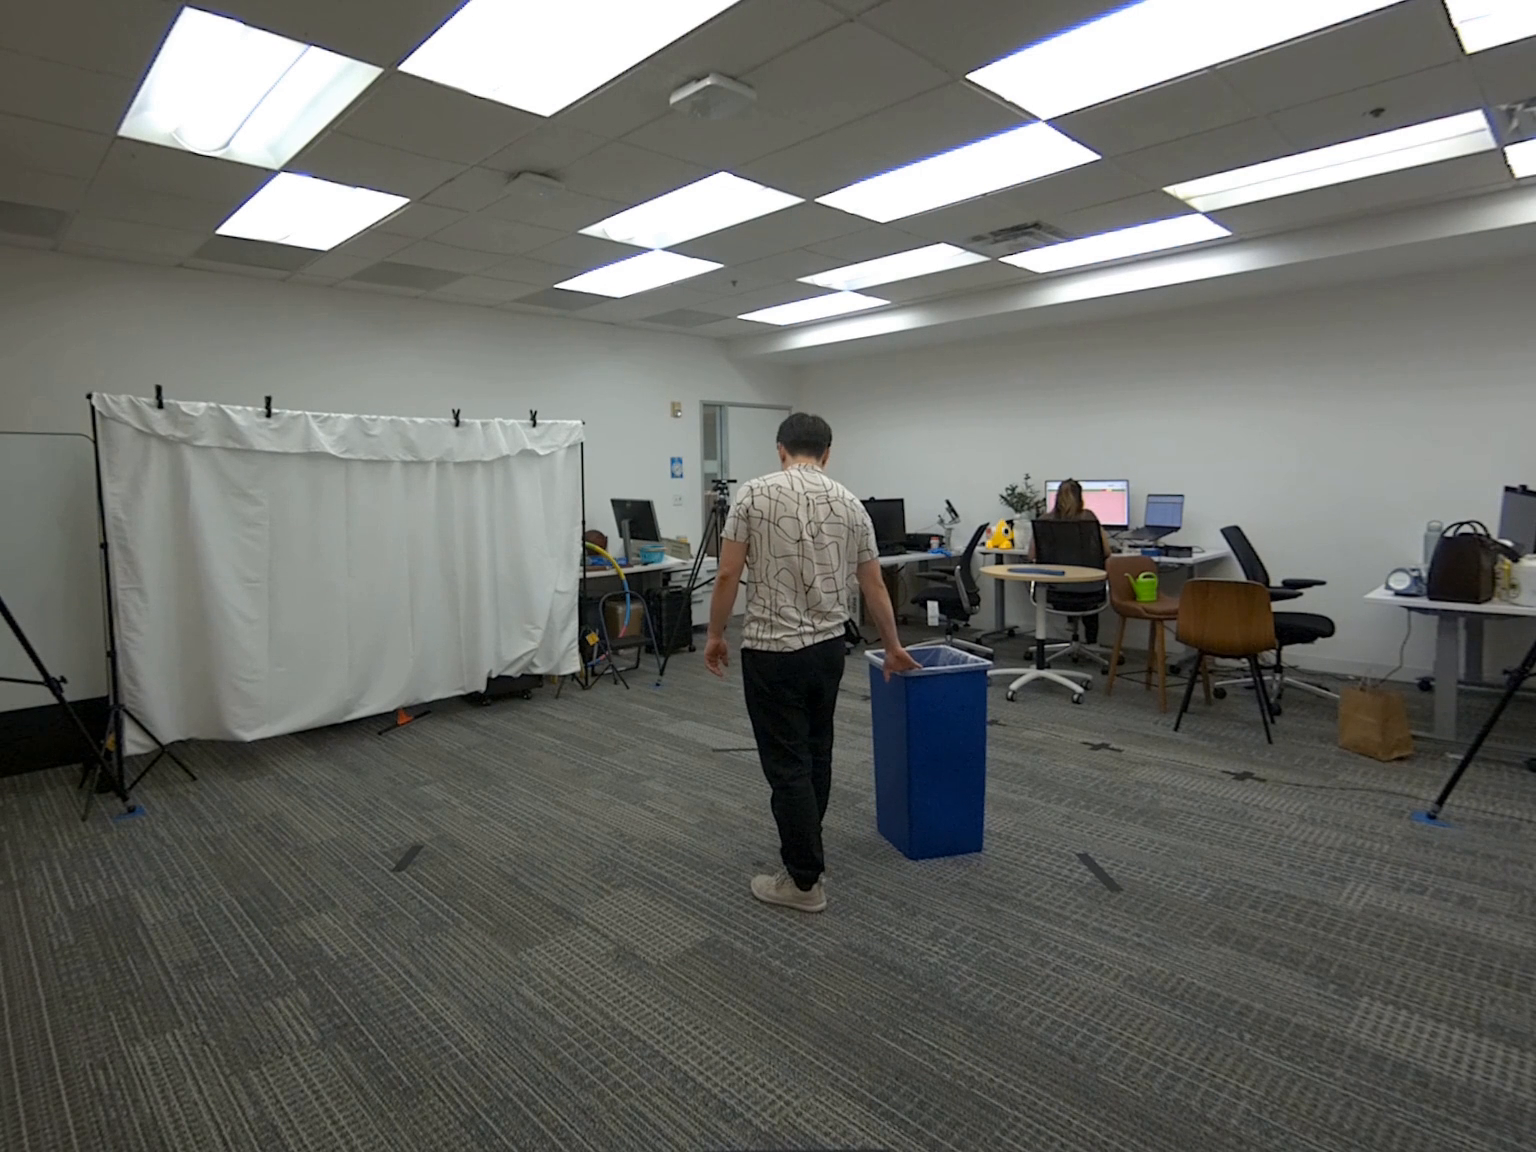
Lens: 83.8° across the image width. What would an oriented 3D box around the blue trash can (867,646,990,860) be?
[{"bbox_3d":[0.607,0.660,3.263,0.369,0.711,0.385,-2,4,-16],"label":"blue trash can"}]
